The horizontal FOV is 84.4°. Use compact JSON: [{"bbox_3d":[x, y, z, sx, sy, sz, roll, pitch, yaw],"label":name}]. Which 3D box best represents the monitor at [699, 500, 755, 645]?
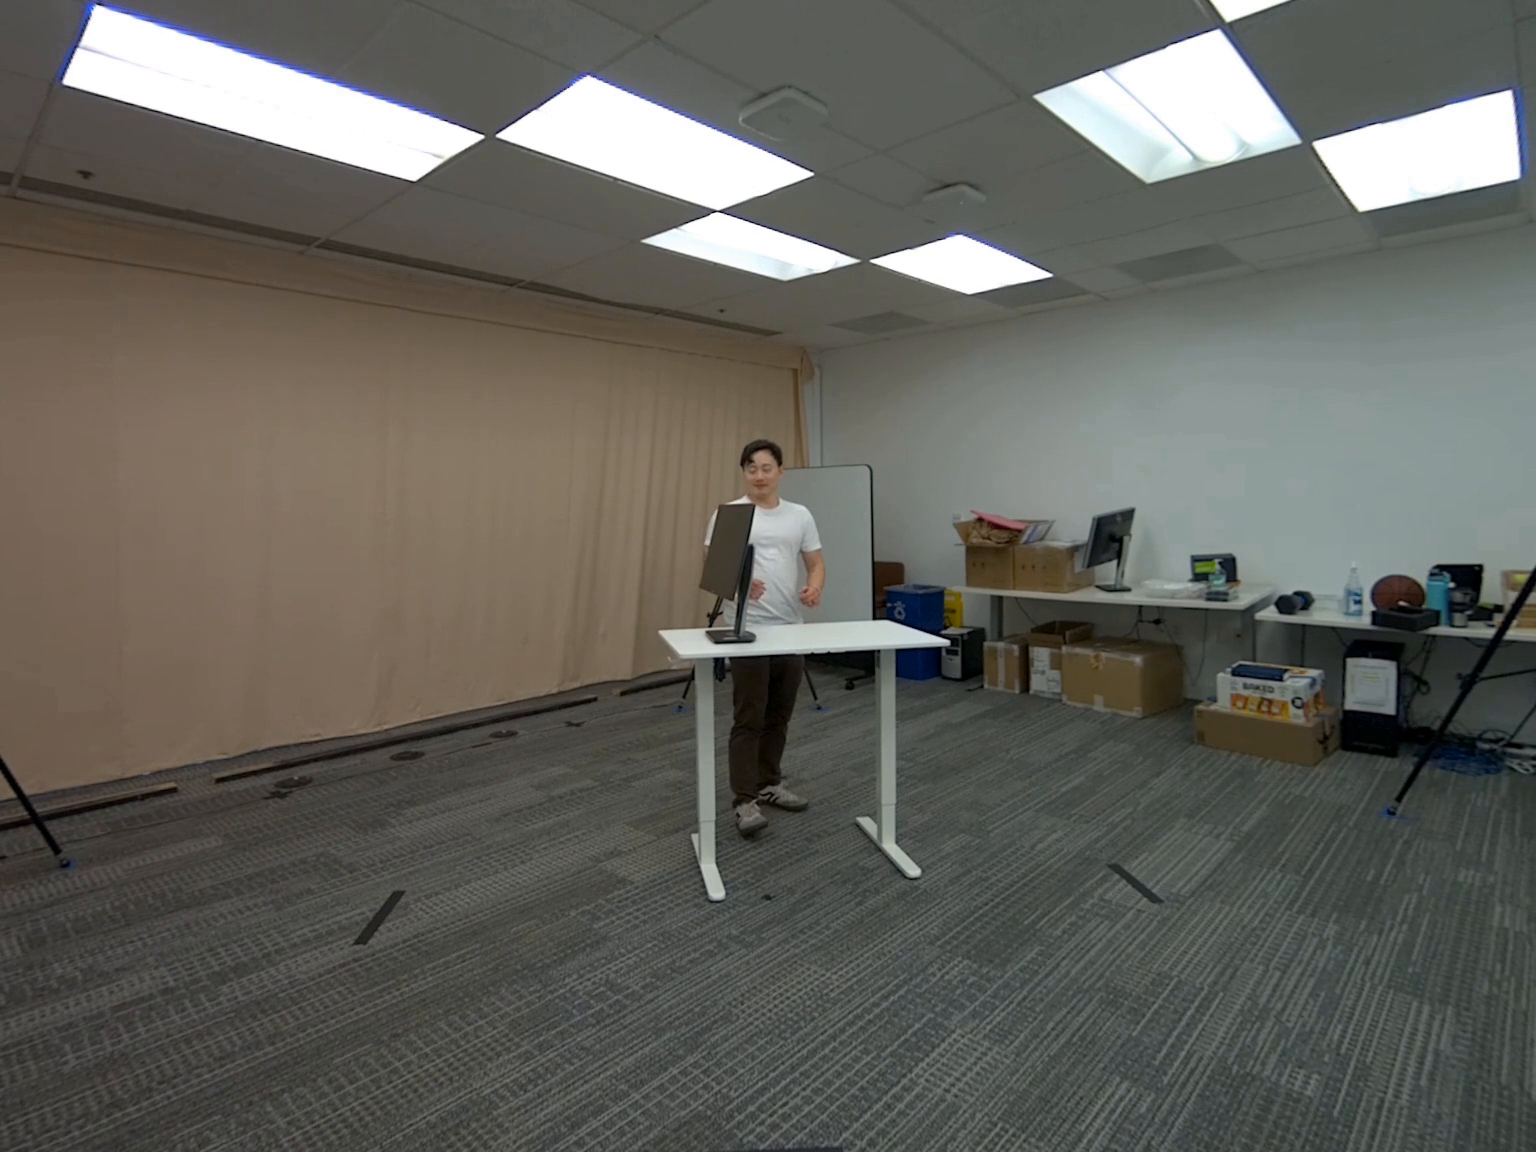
[{"bbox_3d":[-0.128,-0.016,3.226,0.184,0.522,0.549,0,3,-17],"label":"monitor"}]
